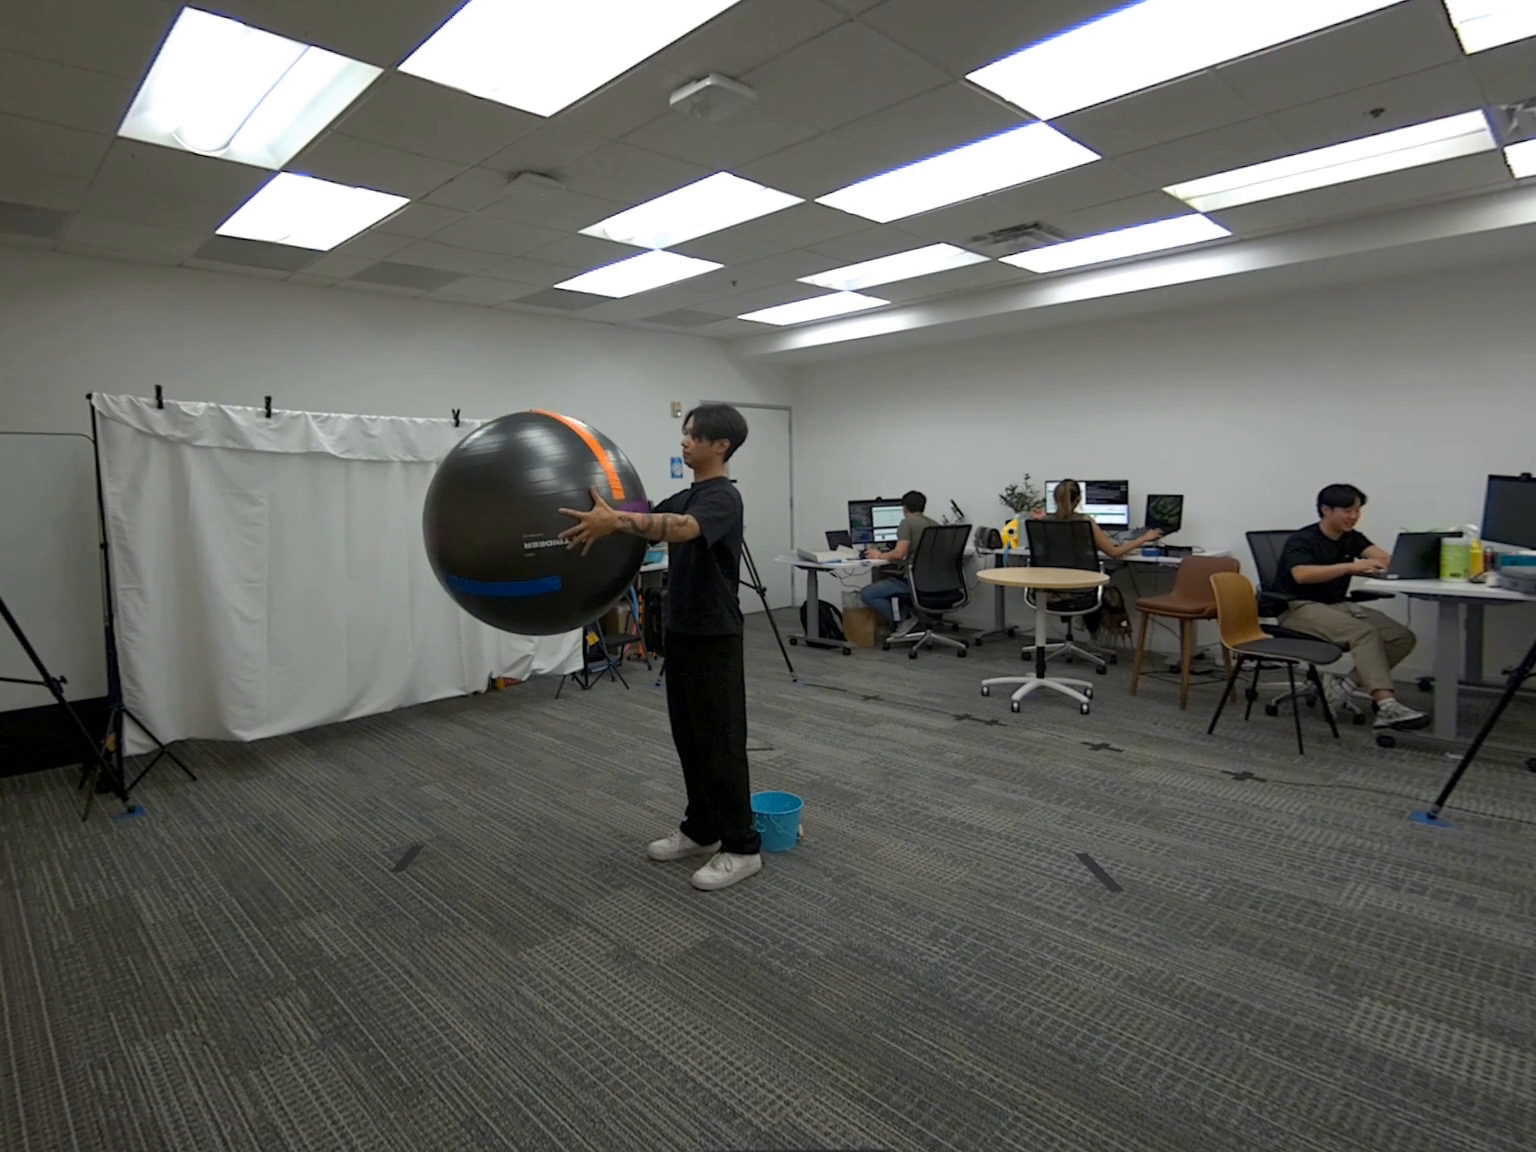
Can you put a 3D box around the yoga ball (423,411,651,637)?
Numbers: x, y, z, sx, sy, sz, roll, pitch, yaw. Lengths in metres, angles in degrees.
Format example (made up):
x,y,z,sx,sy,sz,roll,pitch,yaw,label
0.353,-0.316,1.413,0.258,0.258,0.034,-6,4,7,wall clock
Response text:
x,y,z,sx,sy,sz,roll,pitch,yaw,label
-0.794,-0.174,2.927,0.757,0.755,0.762,-1,5,-2,yoga ball
